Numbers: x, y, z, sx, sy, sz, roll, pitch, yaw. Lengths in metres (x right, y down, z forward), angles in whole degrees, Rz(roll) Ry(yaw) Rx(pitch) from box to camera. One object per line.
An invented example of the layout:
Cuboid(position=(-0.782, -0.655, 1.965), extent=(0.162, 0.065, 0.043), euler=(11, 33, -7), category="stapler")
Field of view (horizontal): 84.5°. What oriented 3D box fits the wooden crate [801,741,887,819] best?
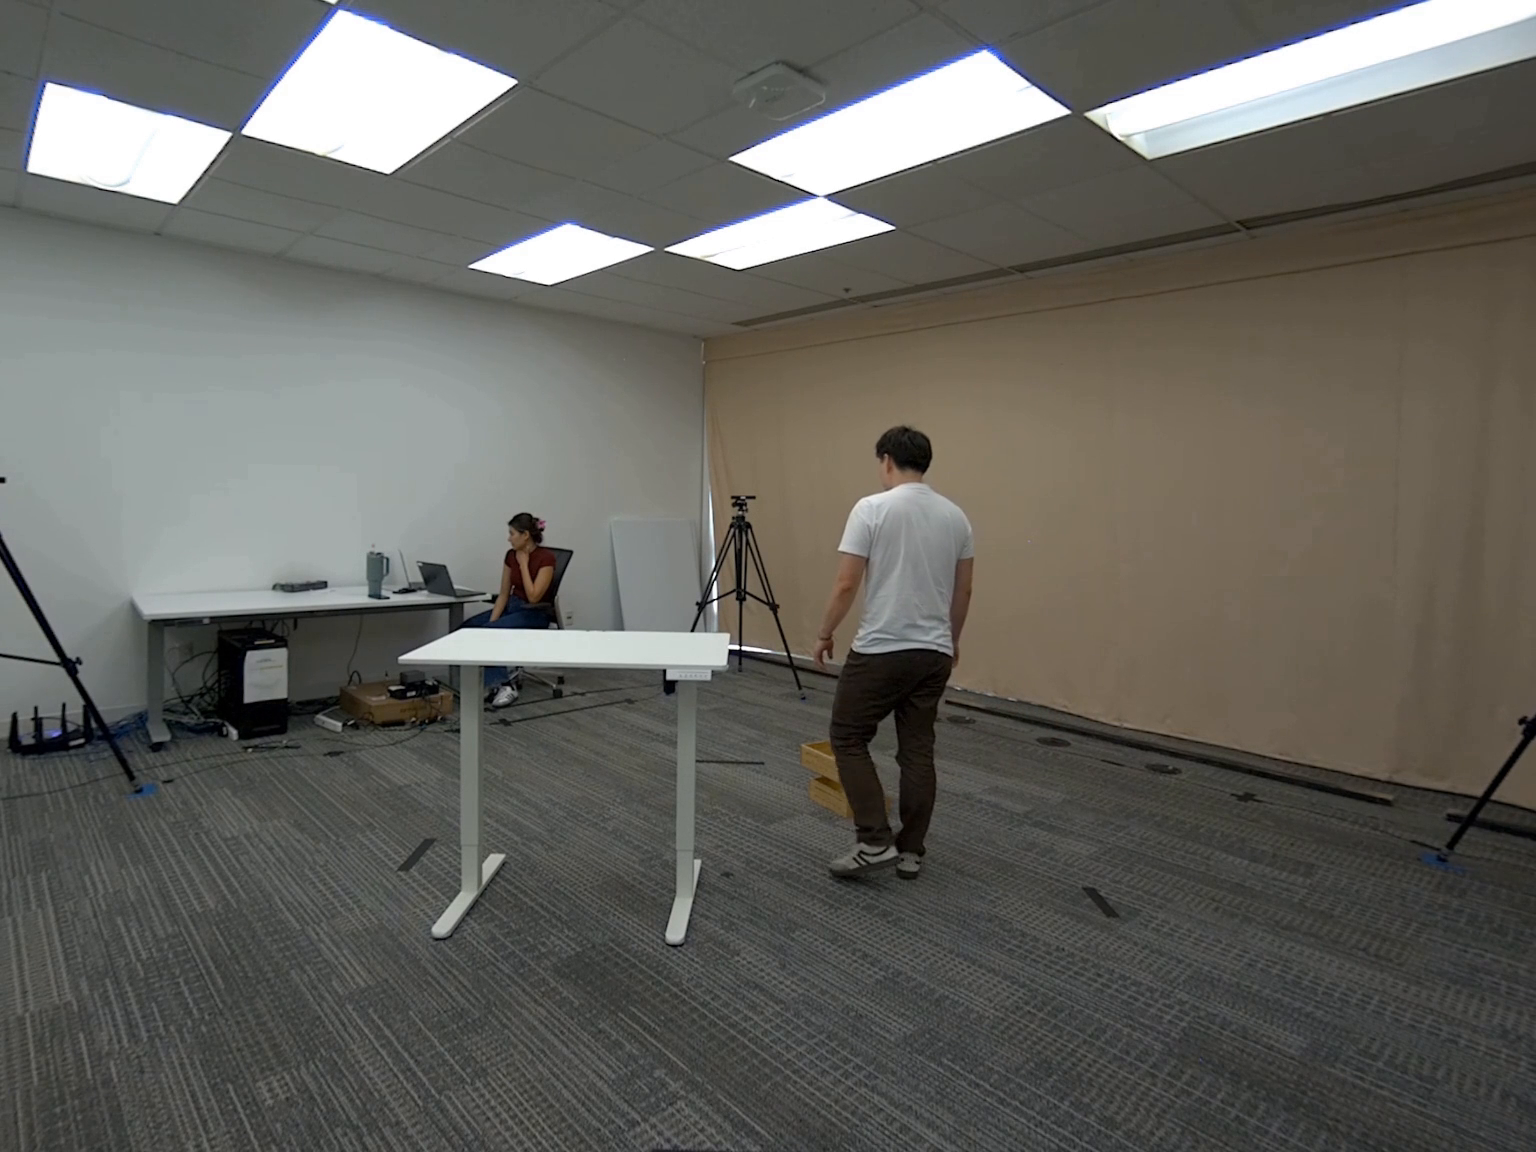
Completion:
Cuboid(position=(0.350, 0.917, 3.856), extent=(0.296, 0.272, 0.332), euler=(-2, 5, -31), category="wooden crate")
